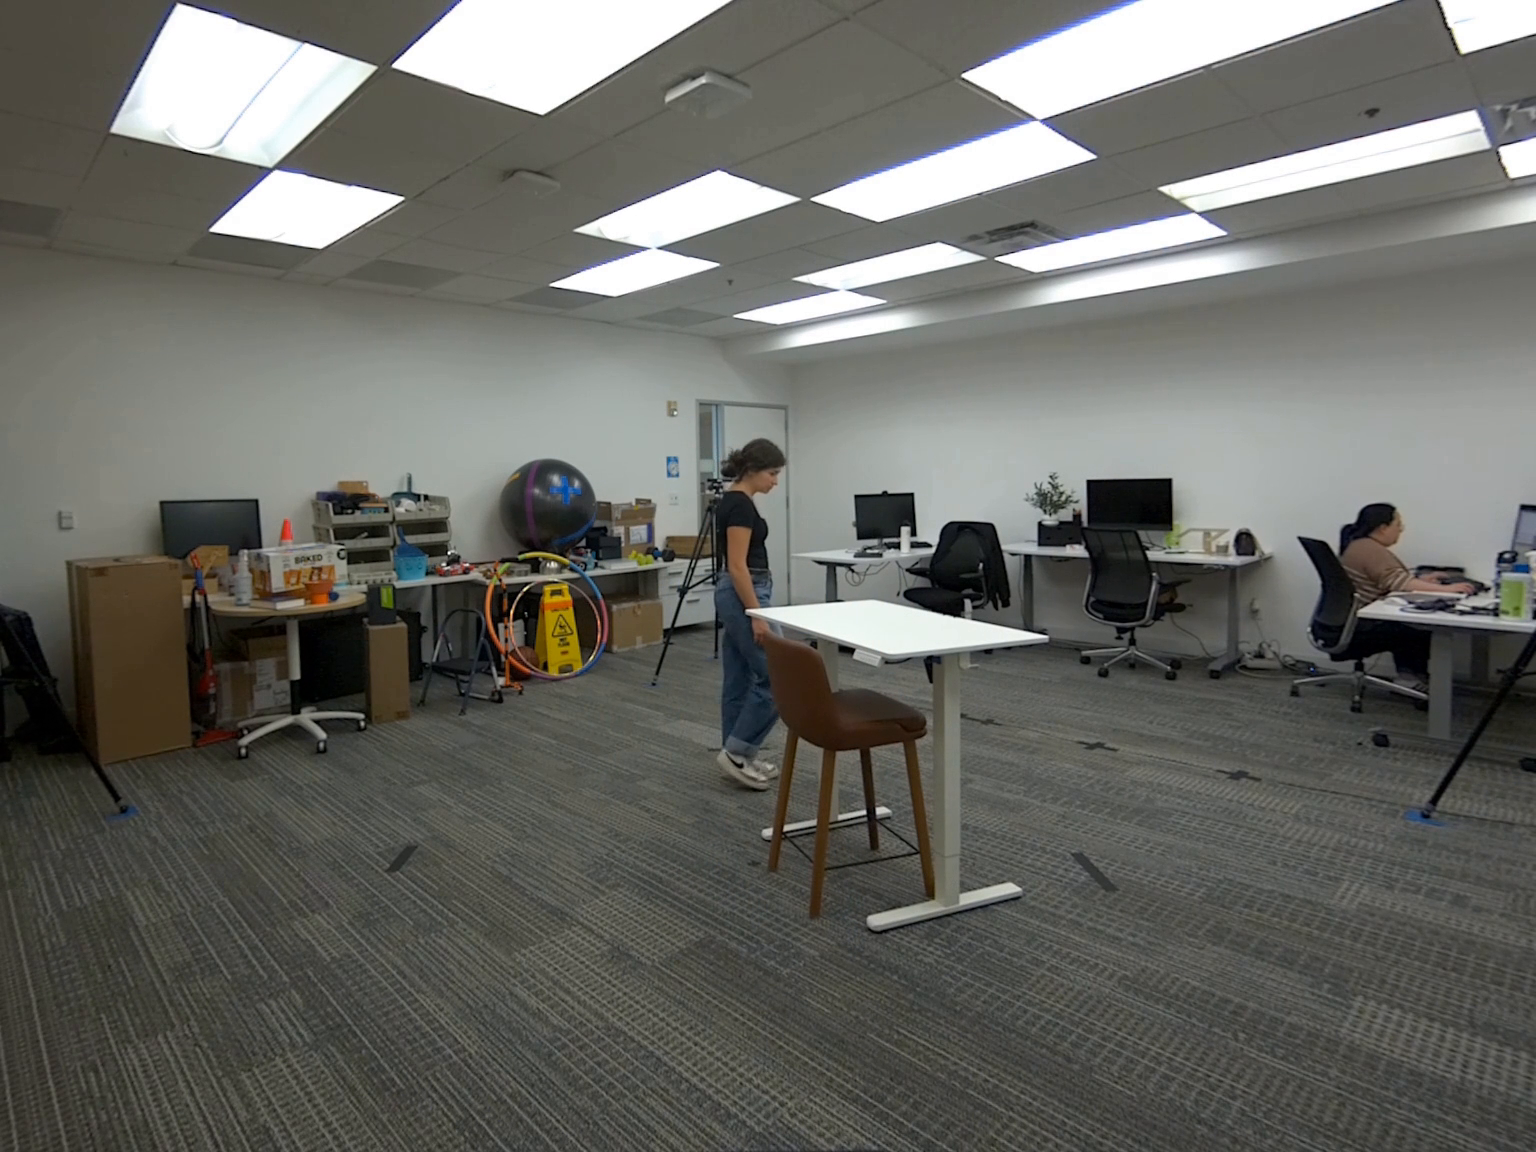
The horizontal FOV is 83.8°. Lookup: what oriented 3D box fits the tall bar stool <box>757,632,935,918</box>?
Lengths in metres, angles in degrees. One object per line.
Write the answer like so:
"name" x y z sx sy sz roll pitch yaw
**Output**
"tall bar stool" 0.275 0.630 2.924 0.459 0.886 0.466 -4 5 -21
